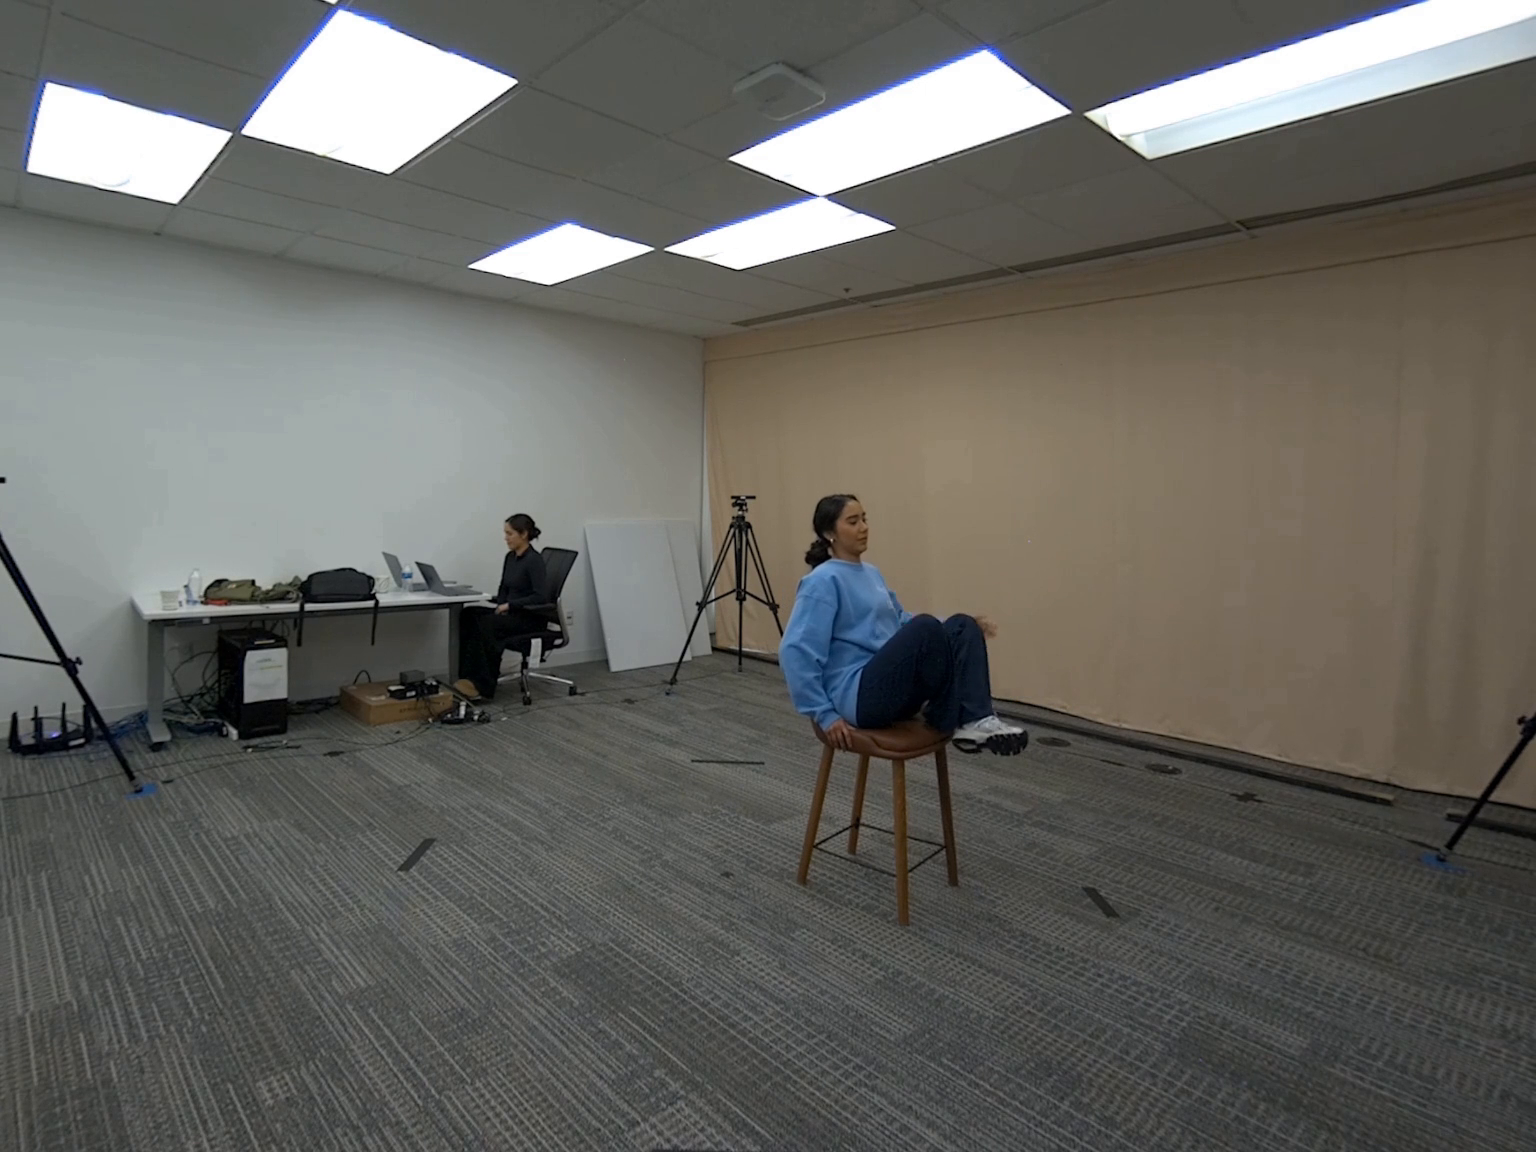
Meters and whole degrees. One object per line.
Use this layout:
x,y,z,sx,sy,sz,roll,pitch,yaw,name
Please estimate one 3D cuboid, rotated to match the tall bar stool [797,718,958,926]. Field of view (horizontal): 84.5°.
0.391,0.686,3.033,0.479,0.889,0.446,1,2,39,tall bar stool
